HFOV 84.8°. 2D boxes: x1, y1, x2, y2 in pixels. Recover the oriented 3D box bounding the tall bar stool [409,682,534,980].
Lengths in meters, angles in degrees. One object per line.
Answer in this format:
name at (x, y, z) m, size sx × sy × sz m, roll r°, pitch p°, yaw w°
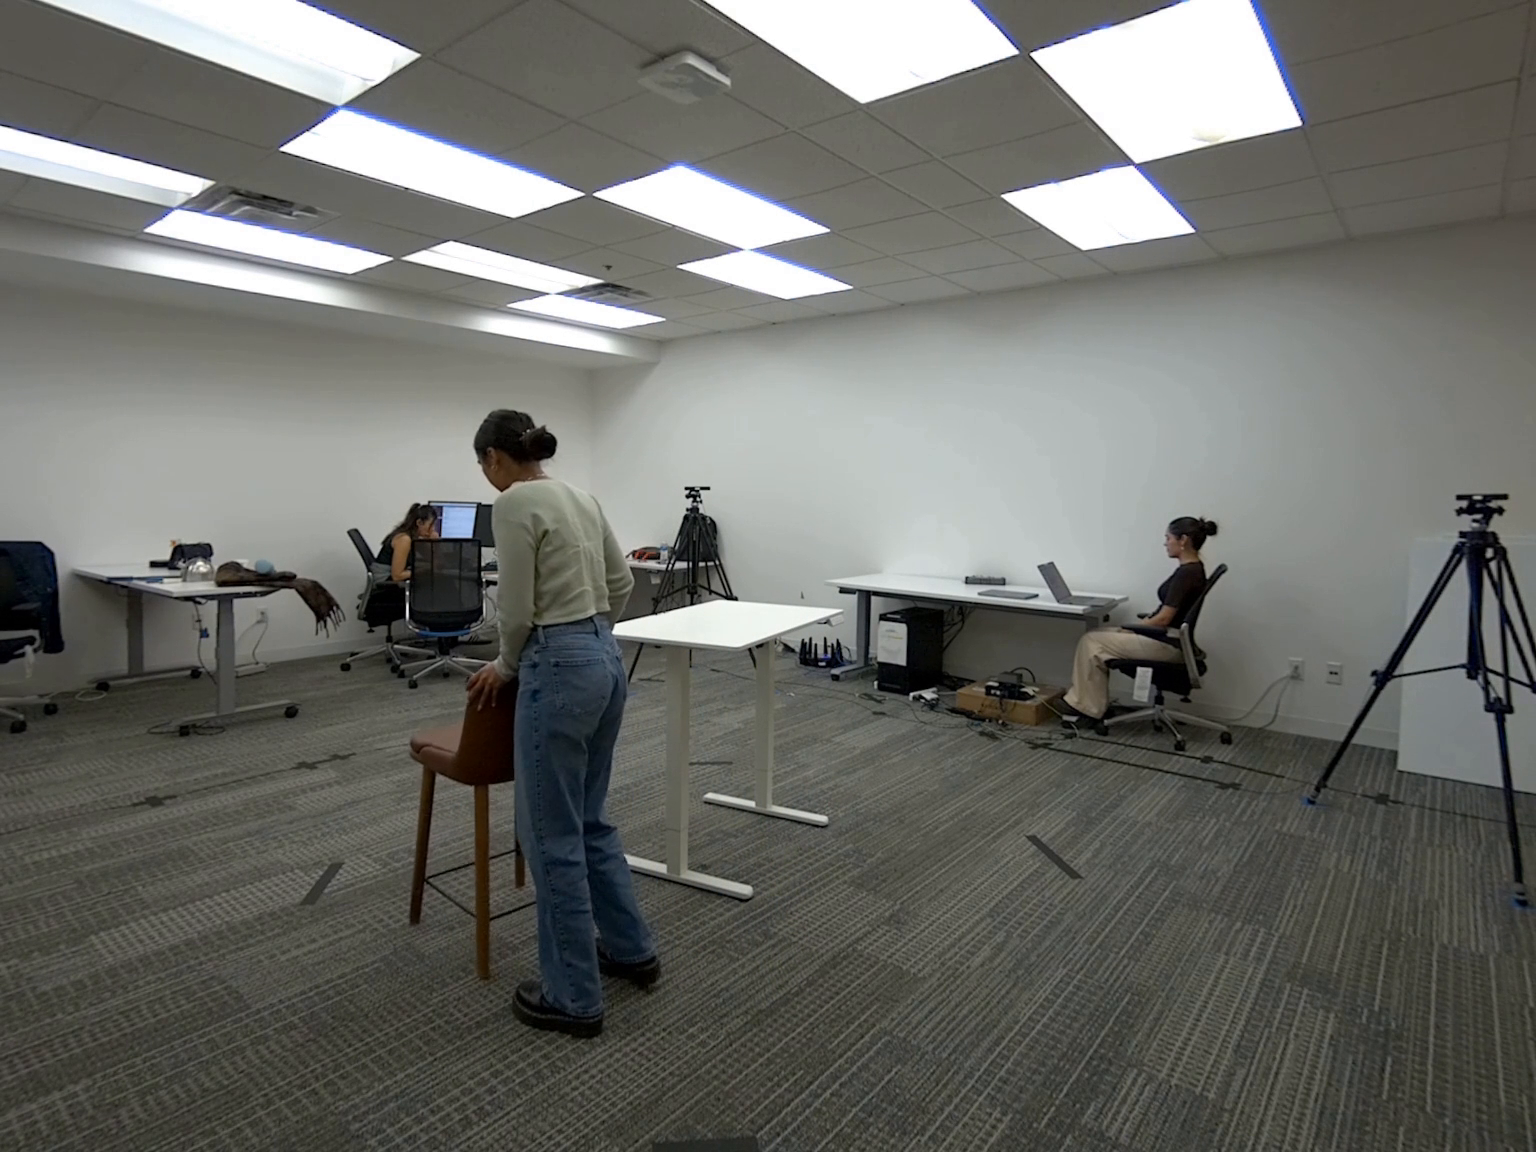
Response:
tall bar stool at (-0.841, 0.667, 2.648) m, size 0.443 × 0.886 × 0.484 m, roll -3°, pitch 7°, yaw -45°
